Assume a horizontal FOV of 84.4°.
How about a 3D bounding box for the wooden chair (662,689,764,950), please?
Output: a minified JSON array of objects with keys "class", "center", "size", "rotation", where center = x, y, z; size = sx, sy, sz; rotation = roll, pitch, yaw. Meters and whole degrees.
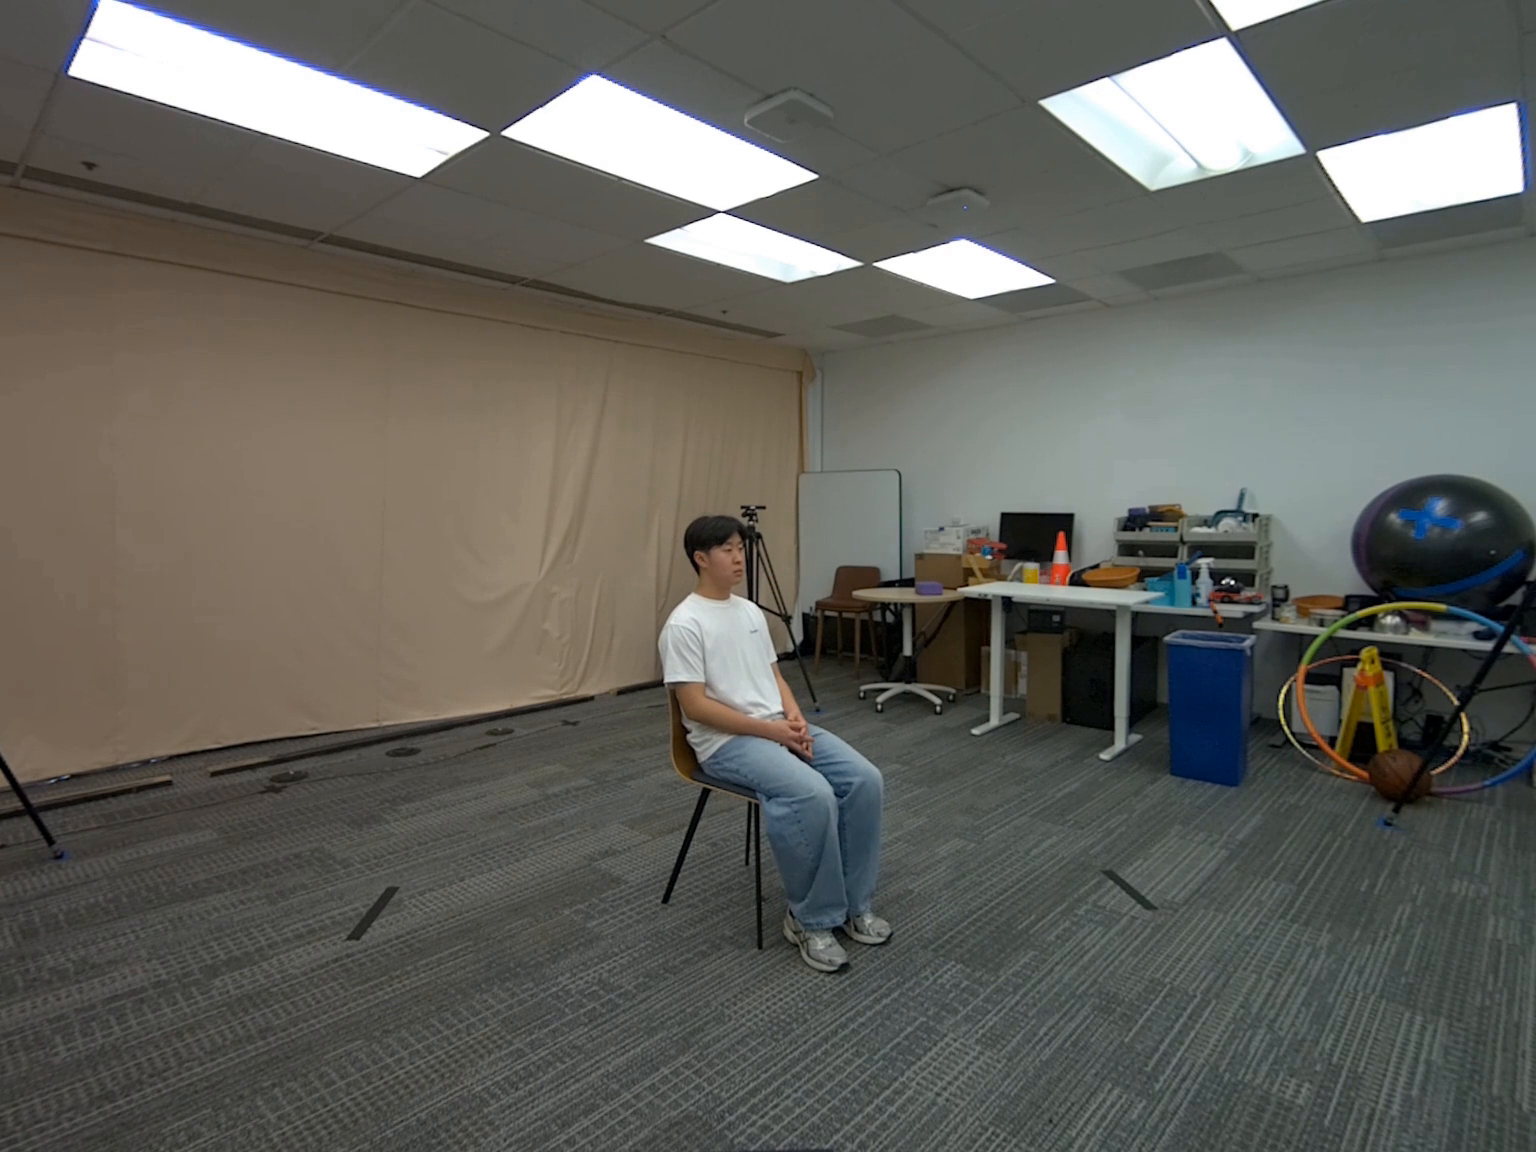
[{"class":"wooden chair","center":[-0.054,0.722,2.929],"size":[0.539,0.877,0.464],"rotation":[-4,1,42]}]
